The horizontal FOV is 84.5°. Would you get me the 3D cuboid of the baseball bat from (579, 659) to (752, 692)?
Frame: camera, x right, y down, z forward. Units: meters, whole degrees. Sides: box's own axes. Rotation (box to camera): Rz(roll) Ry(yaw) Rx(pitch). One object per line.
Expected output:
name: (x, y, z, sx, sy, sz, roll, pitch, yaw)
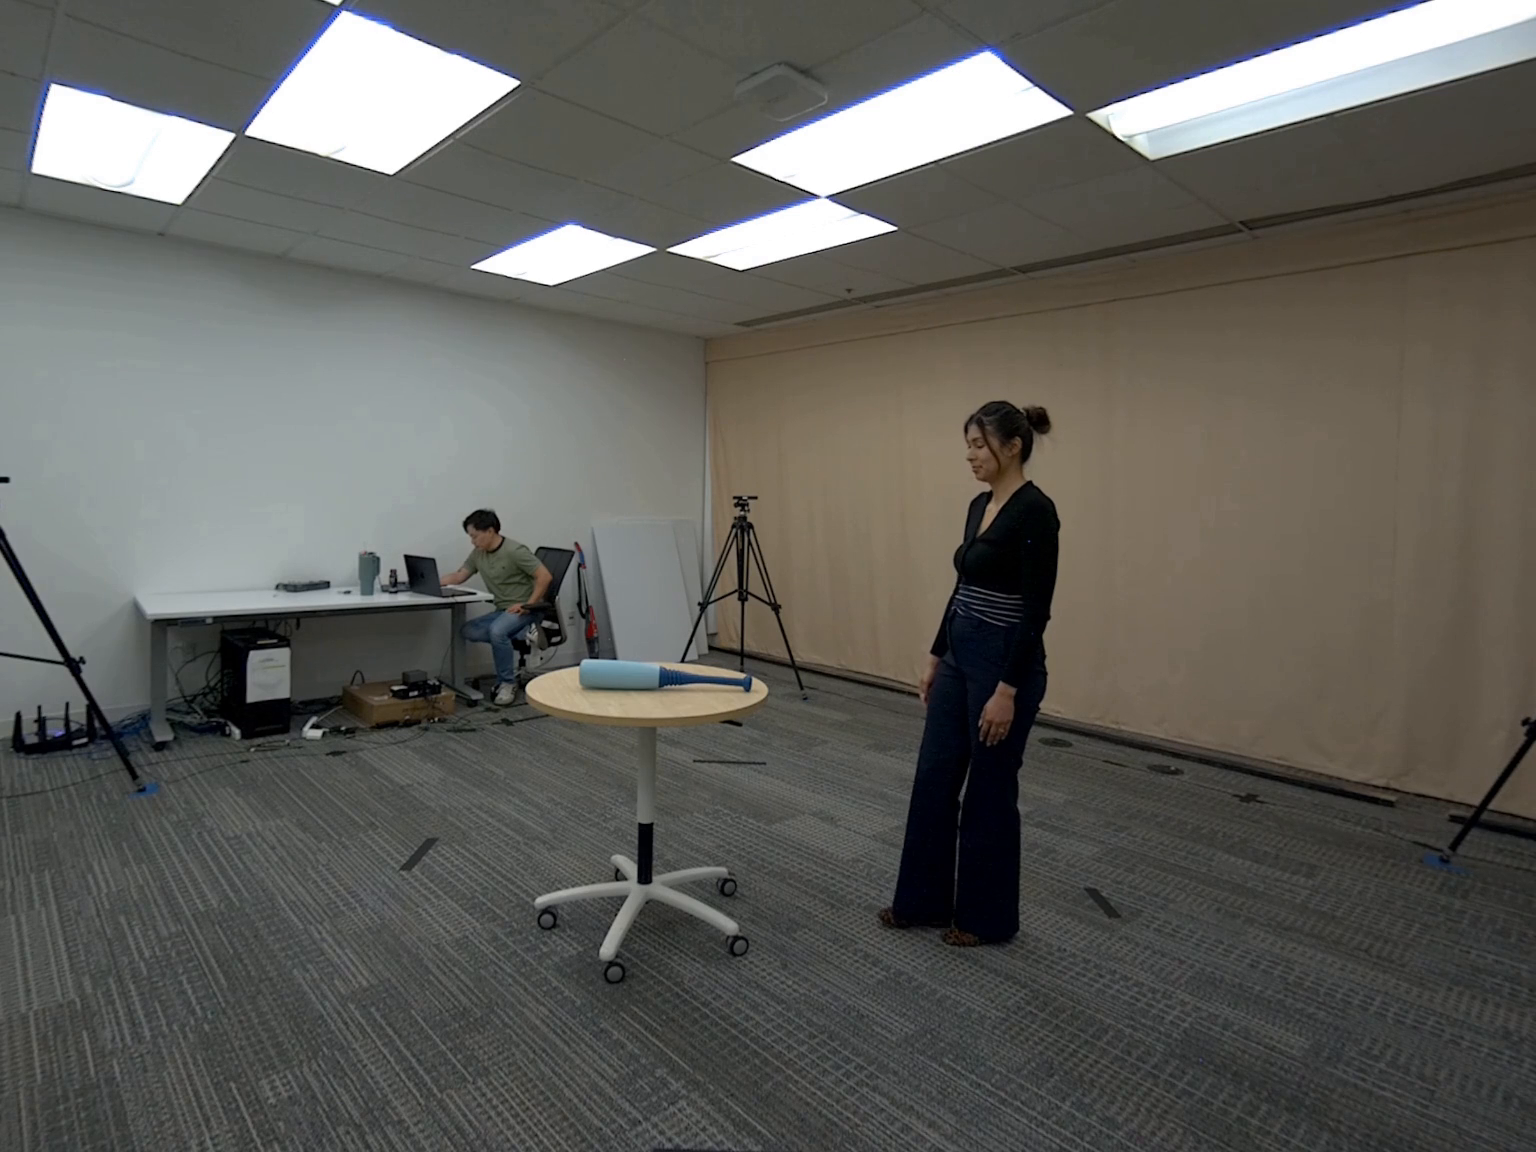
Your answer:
baseball bat: (-0.322, 0.321, 2.643, 0.542, 0.089, 0.089, 3, 4, -2)
